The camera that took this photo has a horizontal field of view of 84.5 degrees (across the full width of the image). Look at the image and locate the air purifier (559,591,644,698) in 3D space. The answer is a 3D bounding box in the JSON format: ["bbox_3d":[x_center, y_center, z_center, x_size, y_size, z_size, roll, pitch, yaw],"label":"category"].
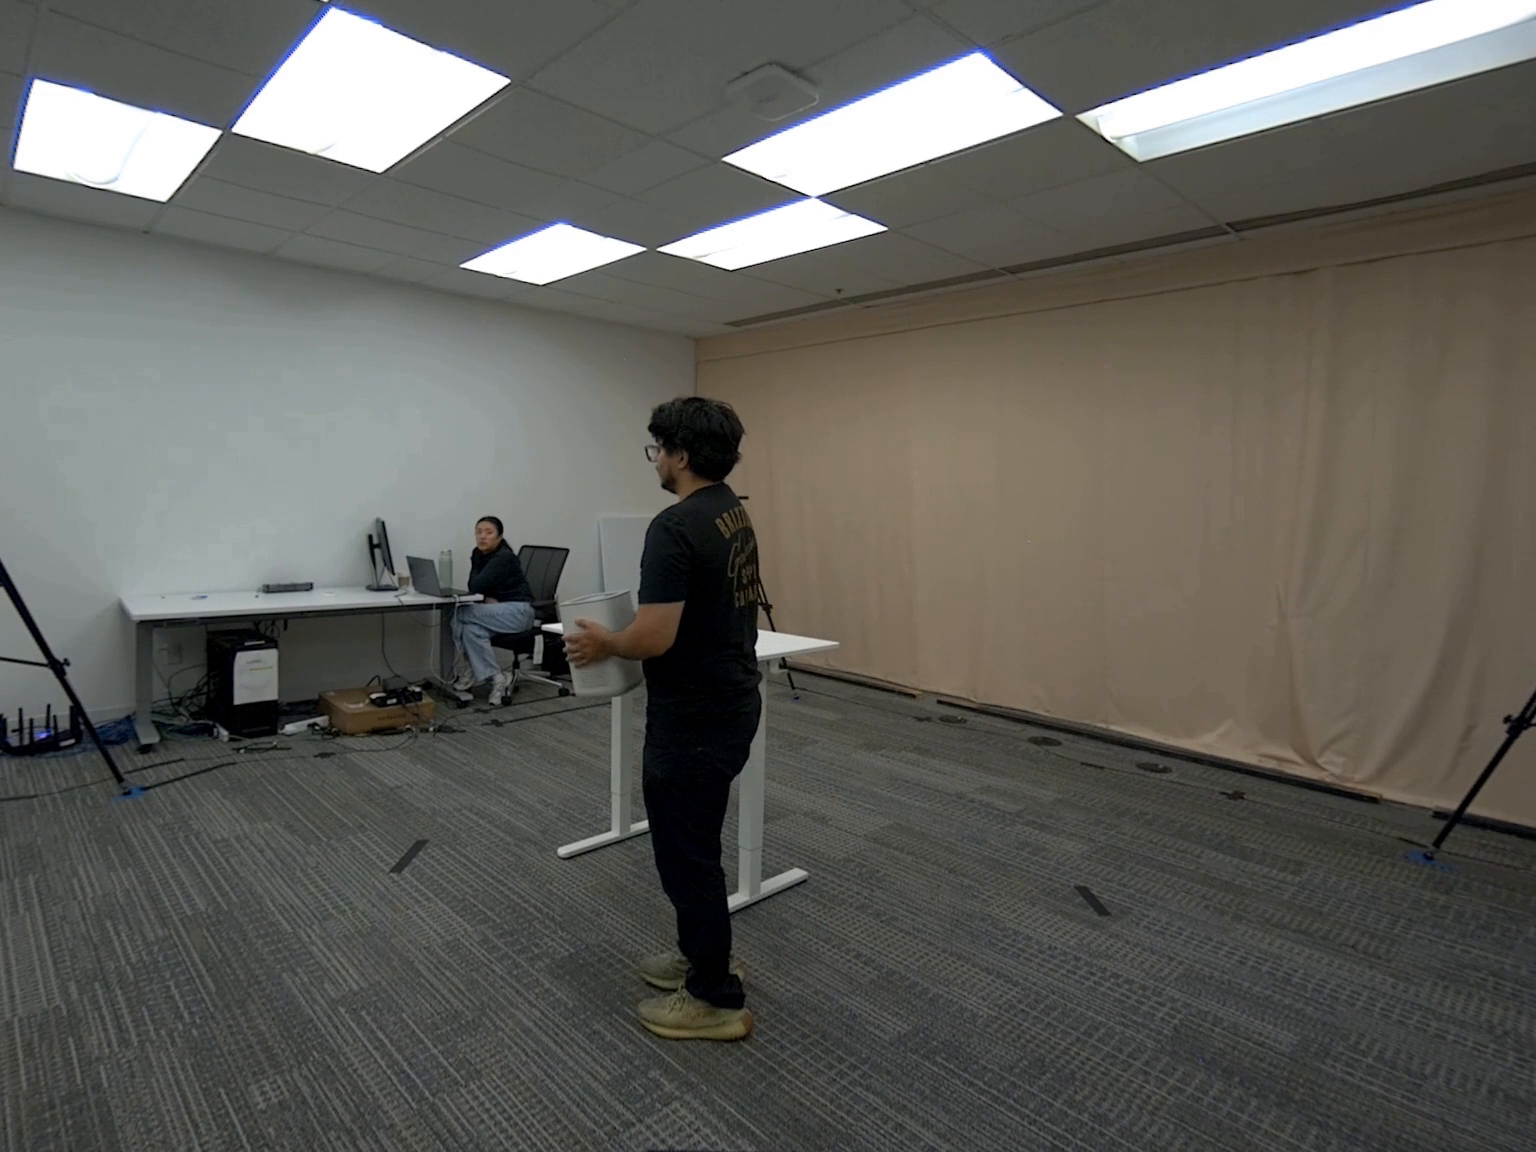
[{"bbox_3d":[-0.446,0.186,2.293,0.174,0.264,0.170,-7,6,19],"label":"air purifier"}]
